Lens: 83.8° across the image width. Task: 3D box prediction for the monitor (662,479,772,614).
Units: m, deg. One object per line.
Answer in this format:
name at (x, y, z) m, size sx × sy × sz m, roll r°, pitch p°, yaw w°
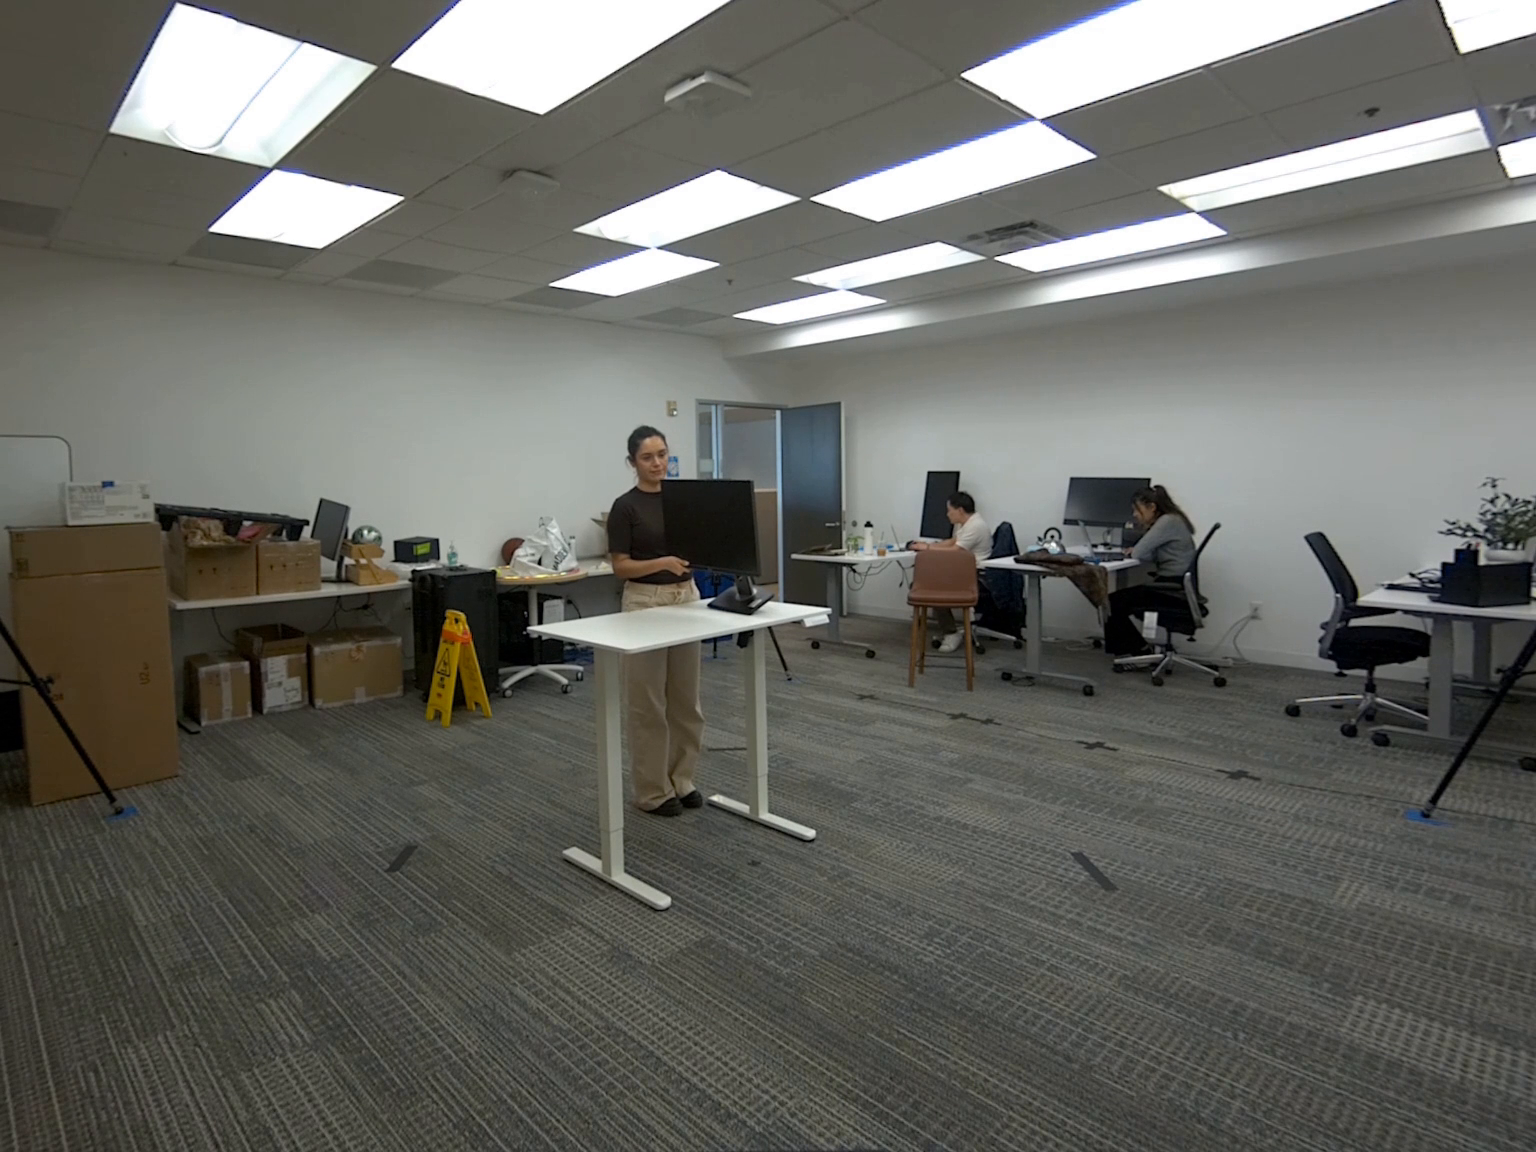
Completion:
monitor at (-0.181, -0.125, 3.286) m, size 0.185 × 0.512 × 0.556 m, roll -30°, pitch 23°, yaw -37°
